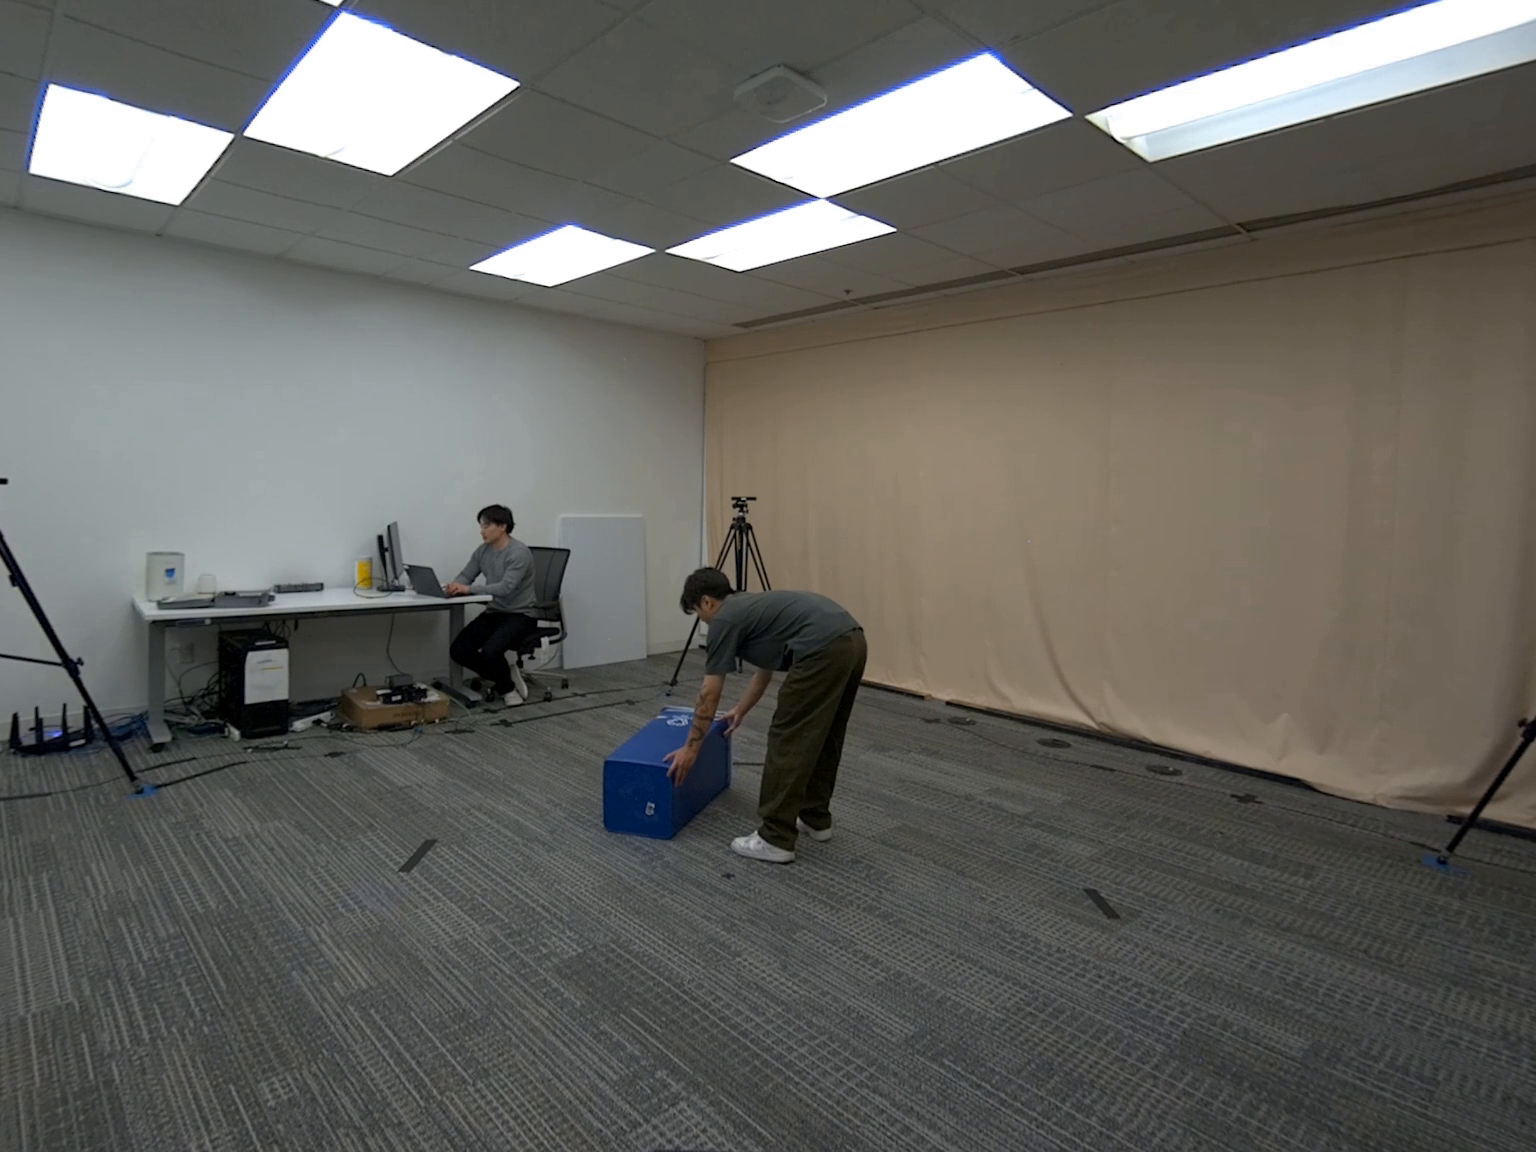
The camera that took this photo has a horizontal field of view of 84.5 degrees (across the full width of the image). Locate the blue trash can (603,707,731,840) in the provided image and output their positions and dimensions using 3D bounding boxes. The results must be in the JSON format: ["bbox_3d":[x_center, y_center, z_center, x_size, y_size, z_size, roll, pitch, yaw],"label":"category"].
[{"bbox_3d":[-0.450,0.863,3.781,0.383,0.372,0.706,4,7,16],"label":"blue trash can"}]
